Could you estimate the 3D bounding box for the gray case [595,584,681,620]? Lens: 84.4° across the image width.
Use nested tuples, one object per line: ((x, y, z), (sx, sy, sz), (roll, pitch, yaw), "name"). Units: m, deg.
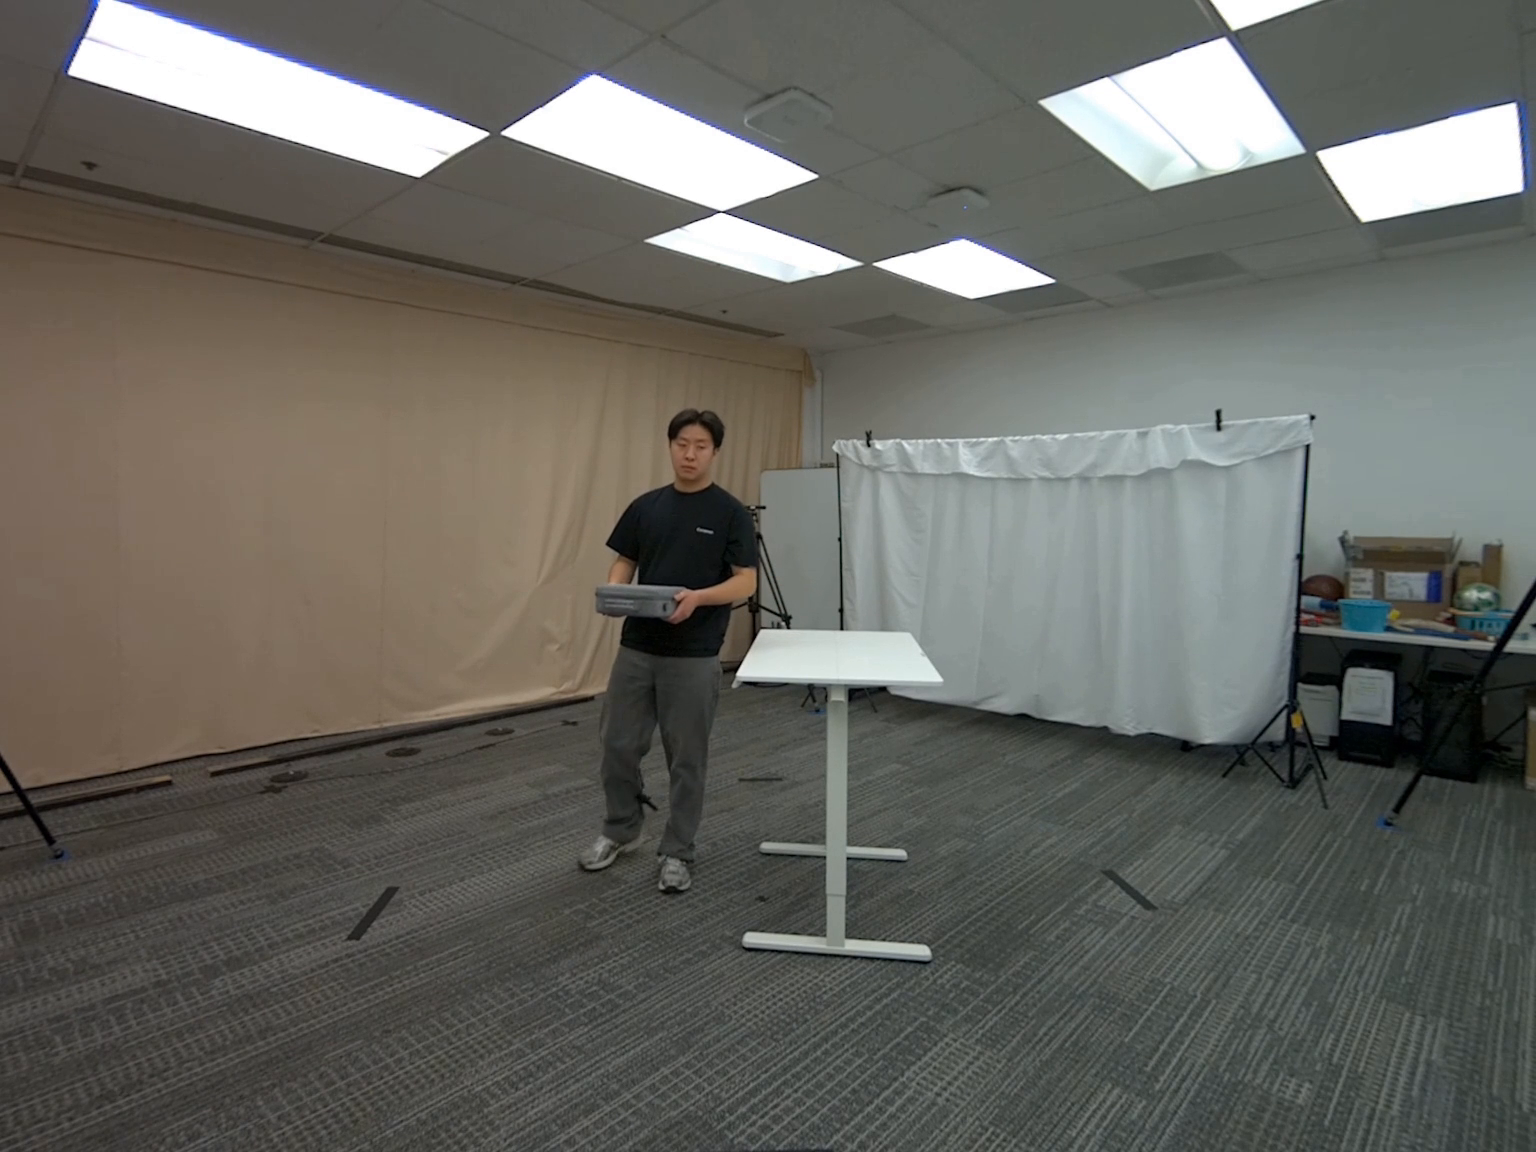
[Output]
((-0.440, 0.084, 2.929), (0.269, 0.103, 0.281), (2, 3, 19), "gray case")
